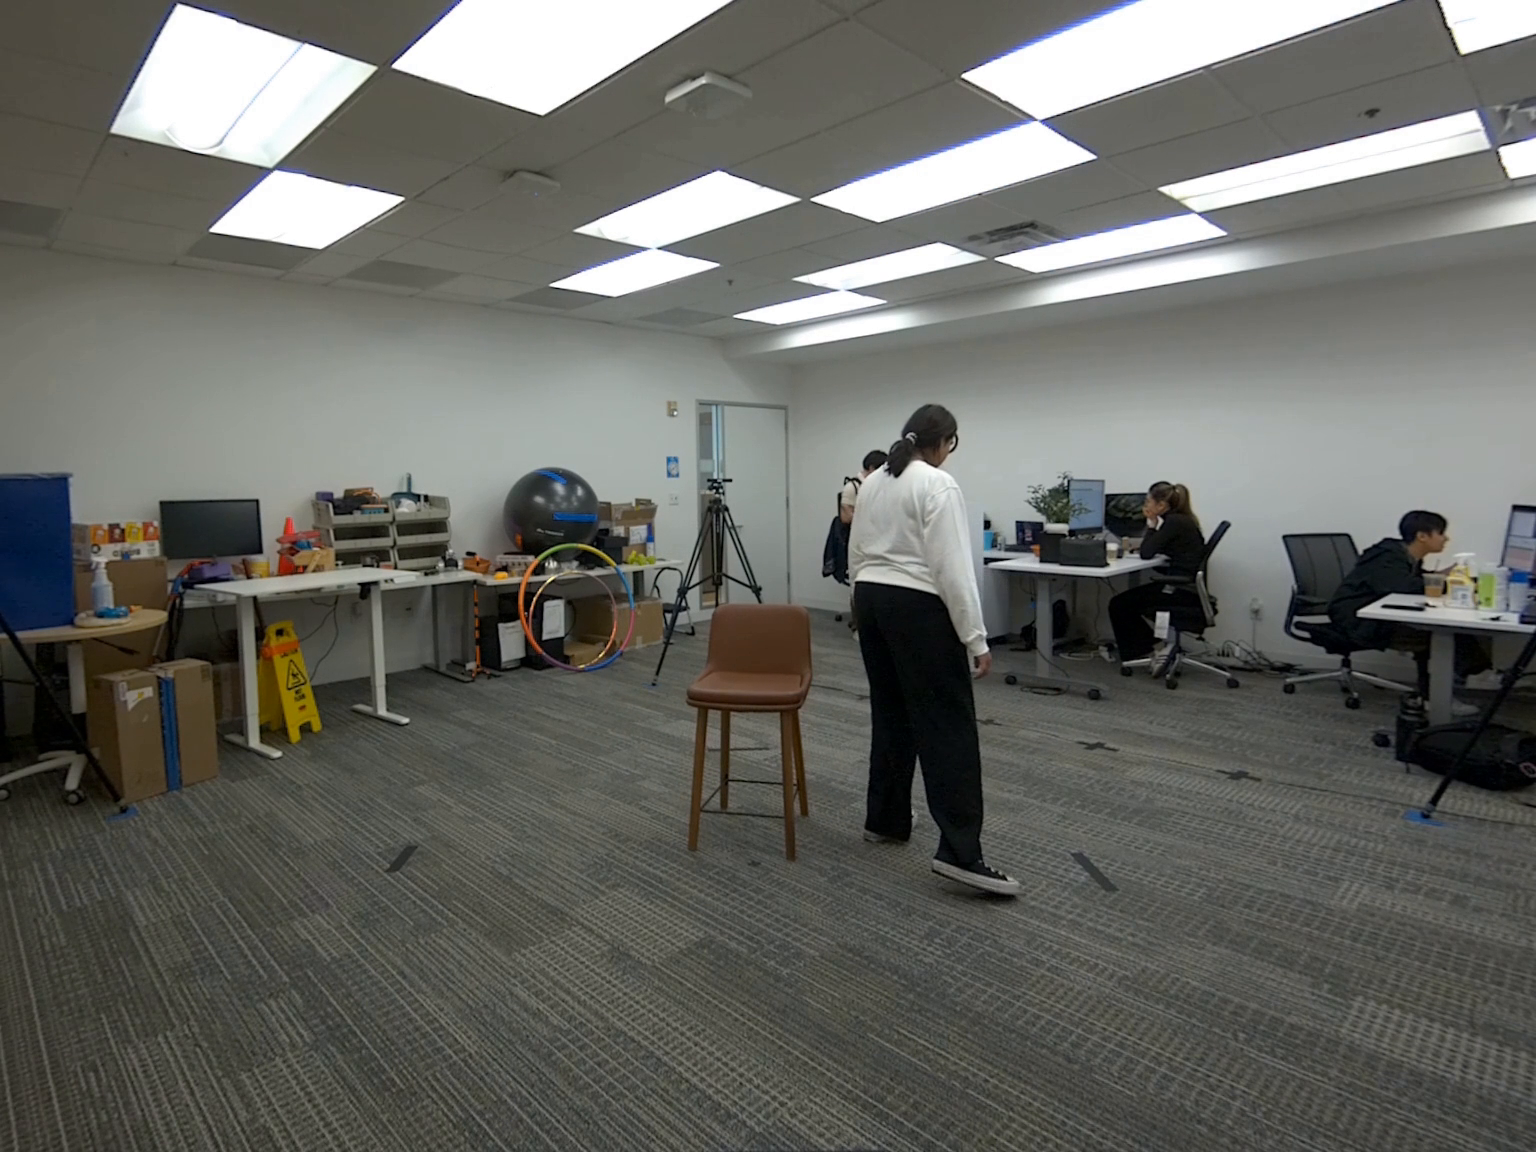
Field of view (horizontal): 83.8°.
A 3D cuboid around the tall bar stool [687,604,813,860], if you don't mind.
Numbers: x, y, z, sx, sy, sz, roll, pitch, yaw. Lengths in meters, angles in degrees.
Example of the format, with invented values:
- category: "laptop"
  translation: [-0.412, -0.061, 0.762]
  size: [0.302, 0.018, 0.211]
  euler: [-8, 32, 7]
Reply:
- category: "tall bar stool"
  translation: [-0.061, 0.582, 3.373]
  size: [0.463, 0.888, 0.462]
  euler: [1, 2, 14]
